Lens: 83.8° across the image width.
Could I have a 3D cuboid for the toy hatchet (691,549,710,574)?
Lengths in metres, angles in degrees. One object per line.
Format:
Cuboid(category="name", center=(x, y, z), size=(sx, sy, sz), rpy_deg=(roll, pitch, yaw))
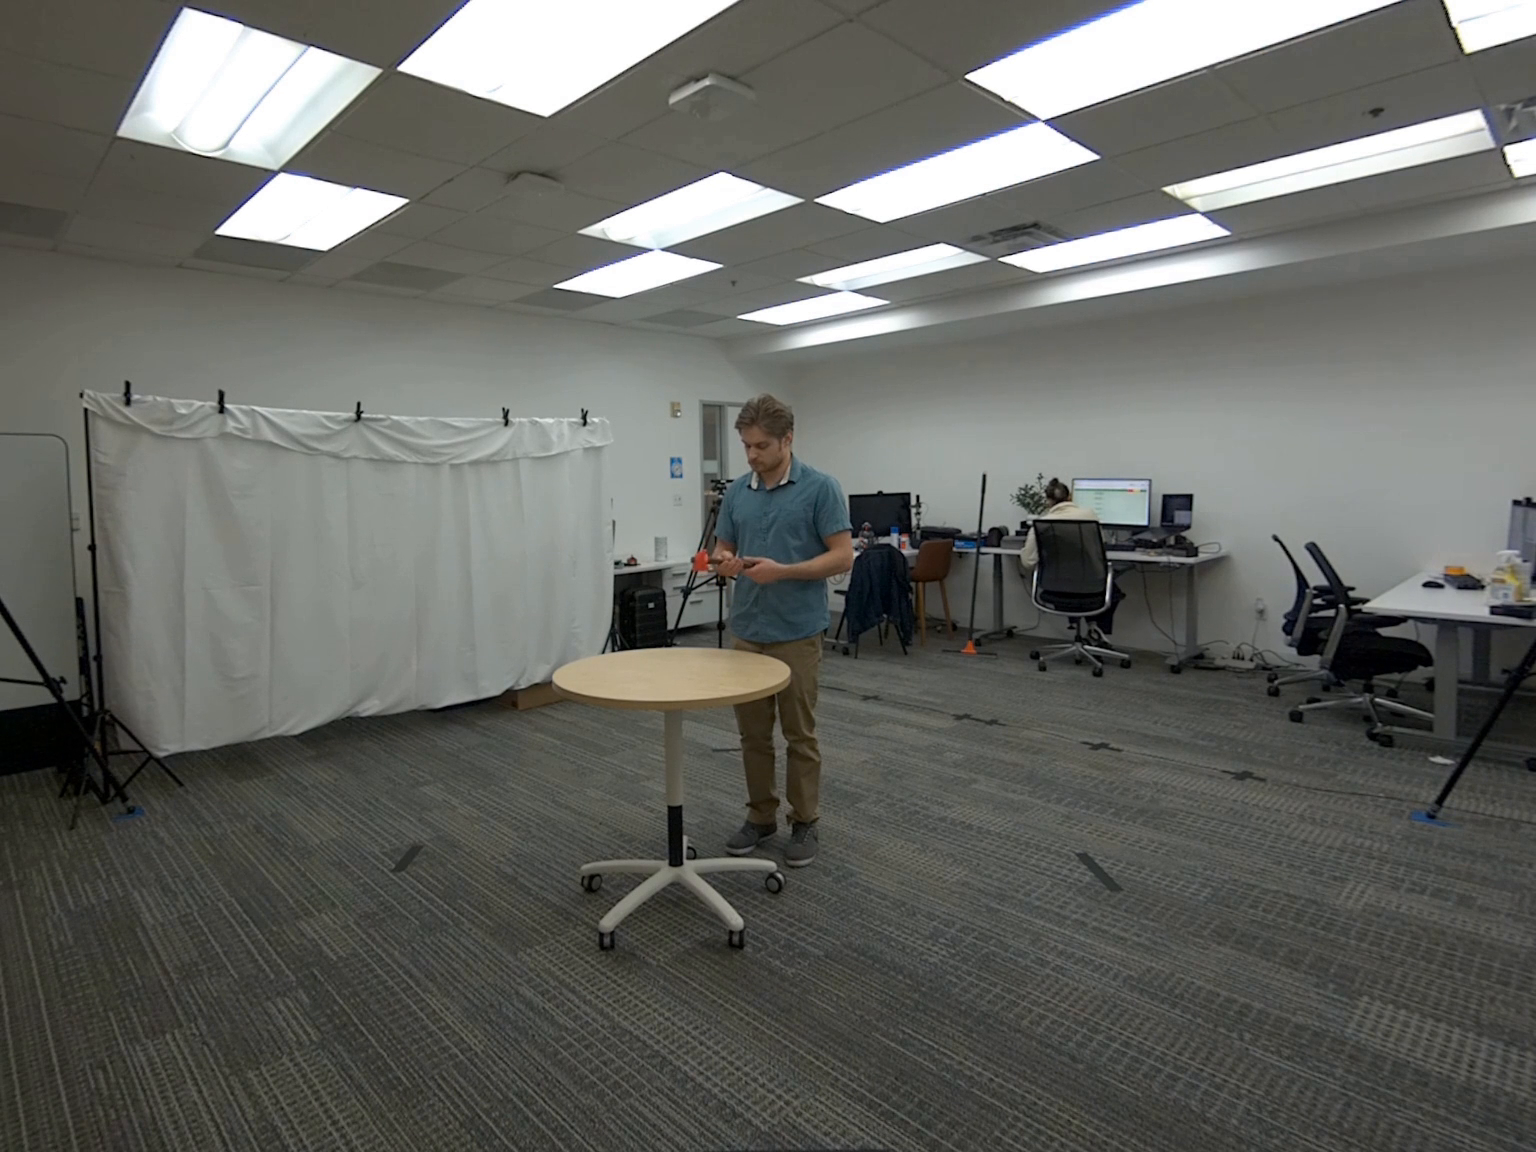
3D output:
Cuboid(category="toy hatchet", center=(-0.141, -0.030, 2.955), size=(0.261, 0.030, 0.131), rpy_deg=(15, -41, -33))
